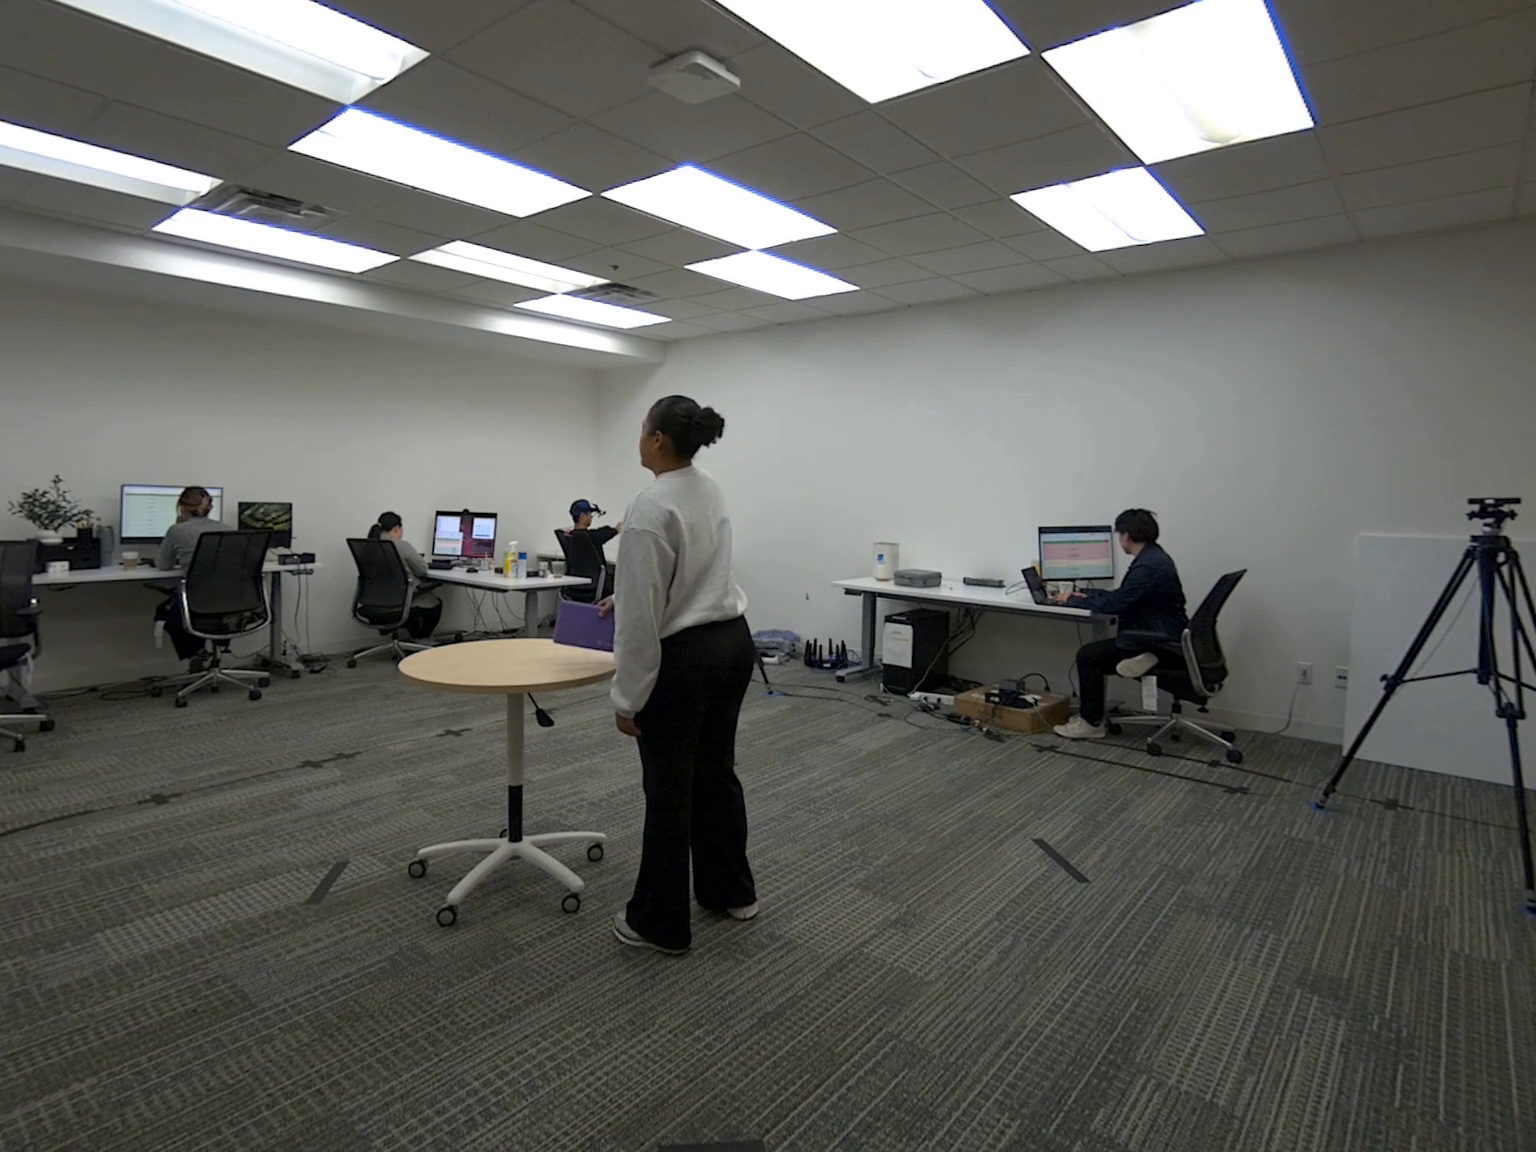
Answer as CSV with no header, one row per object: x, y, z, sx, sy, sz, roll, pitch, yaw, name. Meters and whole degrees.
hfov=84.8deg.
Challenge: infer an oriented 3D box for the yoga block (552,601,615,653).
-0.607,0.170,2.926,0.227,0.150,0.076,10,-7,-7,yoga block
